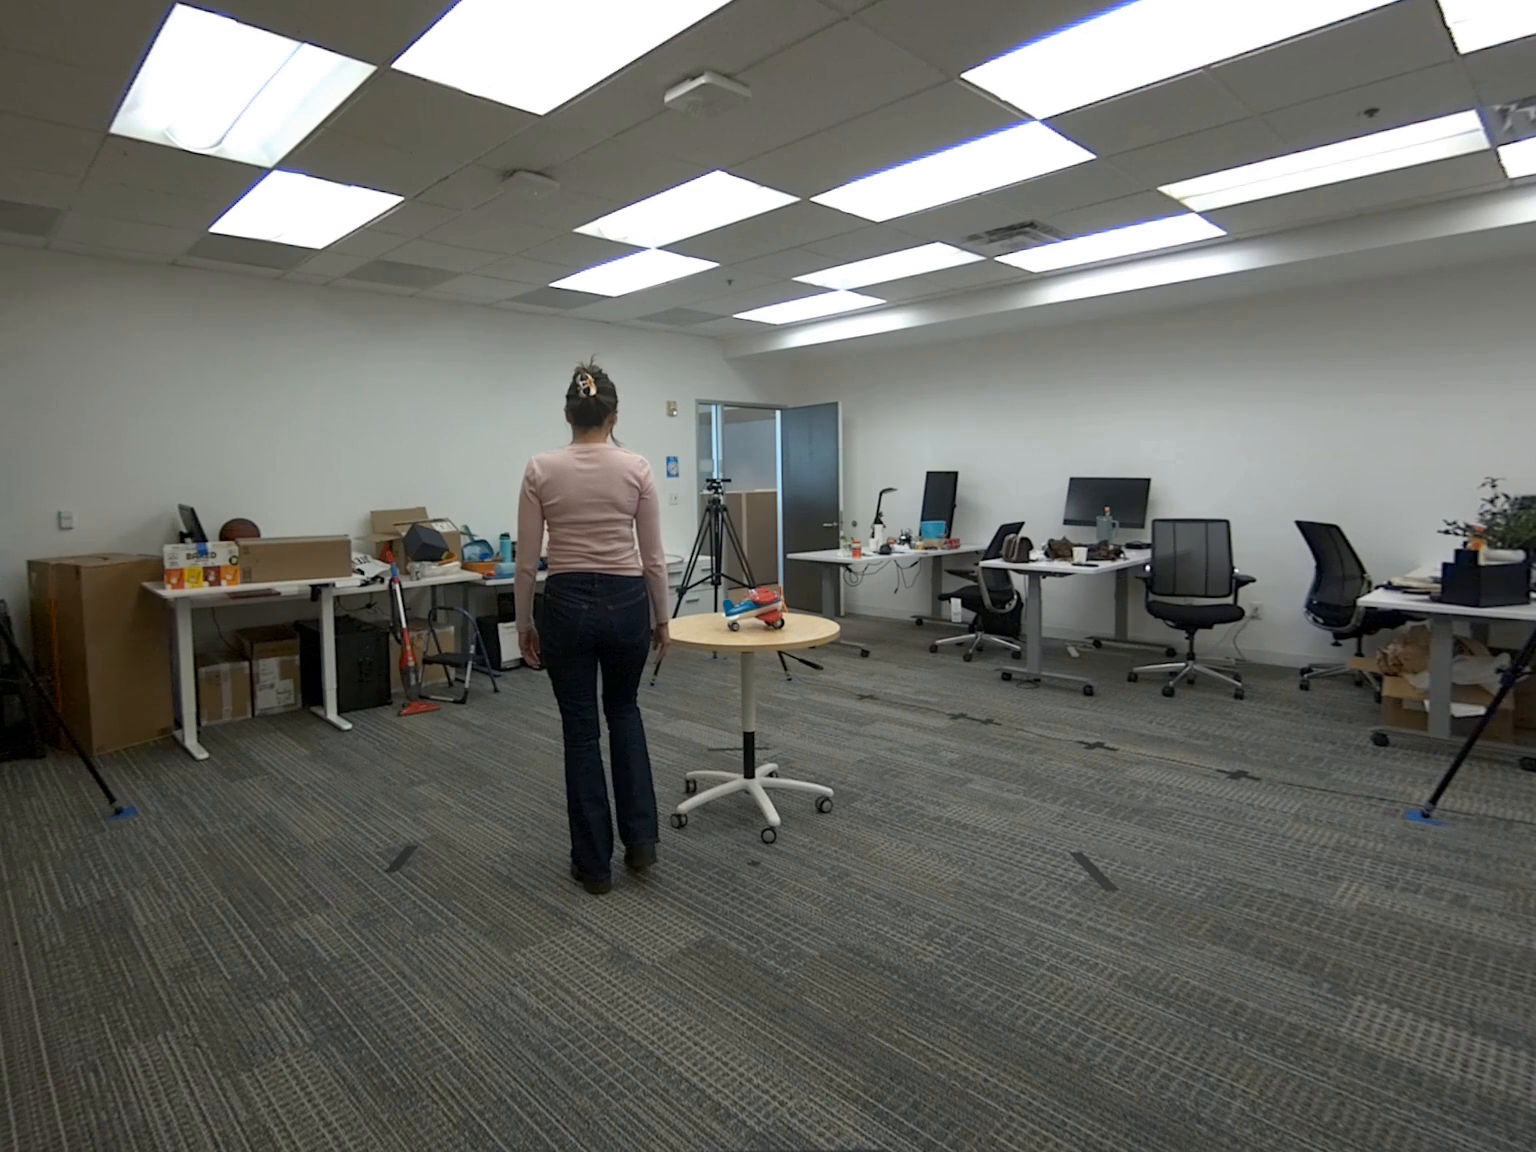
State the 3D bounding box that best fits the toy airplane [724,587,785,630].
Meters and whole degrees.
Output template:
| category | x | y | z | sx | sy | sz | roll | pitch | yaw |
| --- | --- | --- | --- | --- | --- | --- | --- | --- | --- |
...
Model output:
| category | x | y | z | sx | sy | sz | roll | pitch | yaw |
| --- | --- | --- | --- | --- | --- | --- | --- | --- | --- |
| toy airplane | -0.050 | 0.143 | 3.483 | 0.259 | 0.156 | 0.252 | 5 | 8 | 44 |
